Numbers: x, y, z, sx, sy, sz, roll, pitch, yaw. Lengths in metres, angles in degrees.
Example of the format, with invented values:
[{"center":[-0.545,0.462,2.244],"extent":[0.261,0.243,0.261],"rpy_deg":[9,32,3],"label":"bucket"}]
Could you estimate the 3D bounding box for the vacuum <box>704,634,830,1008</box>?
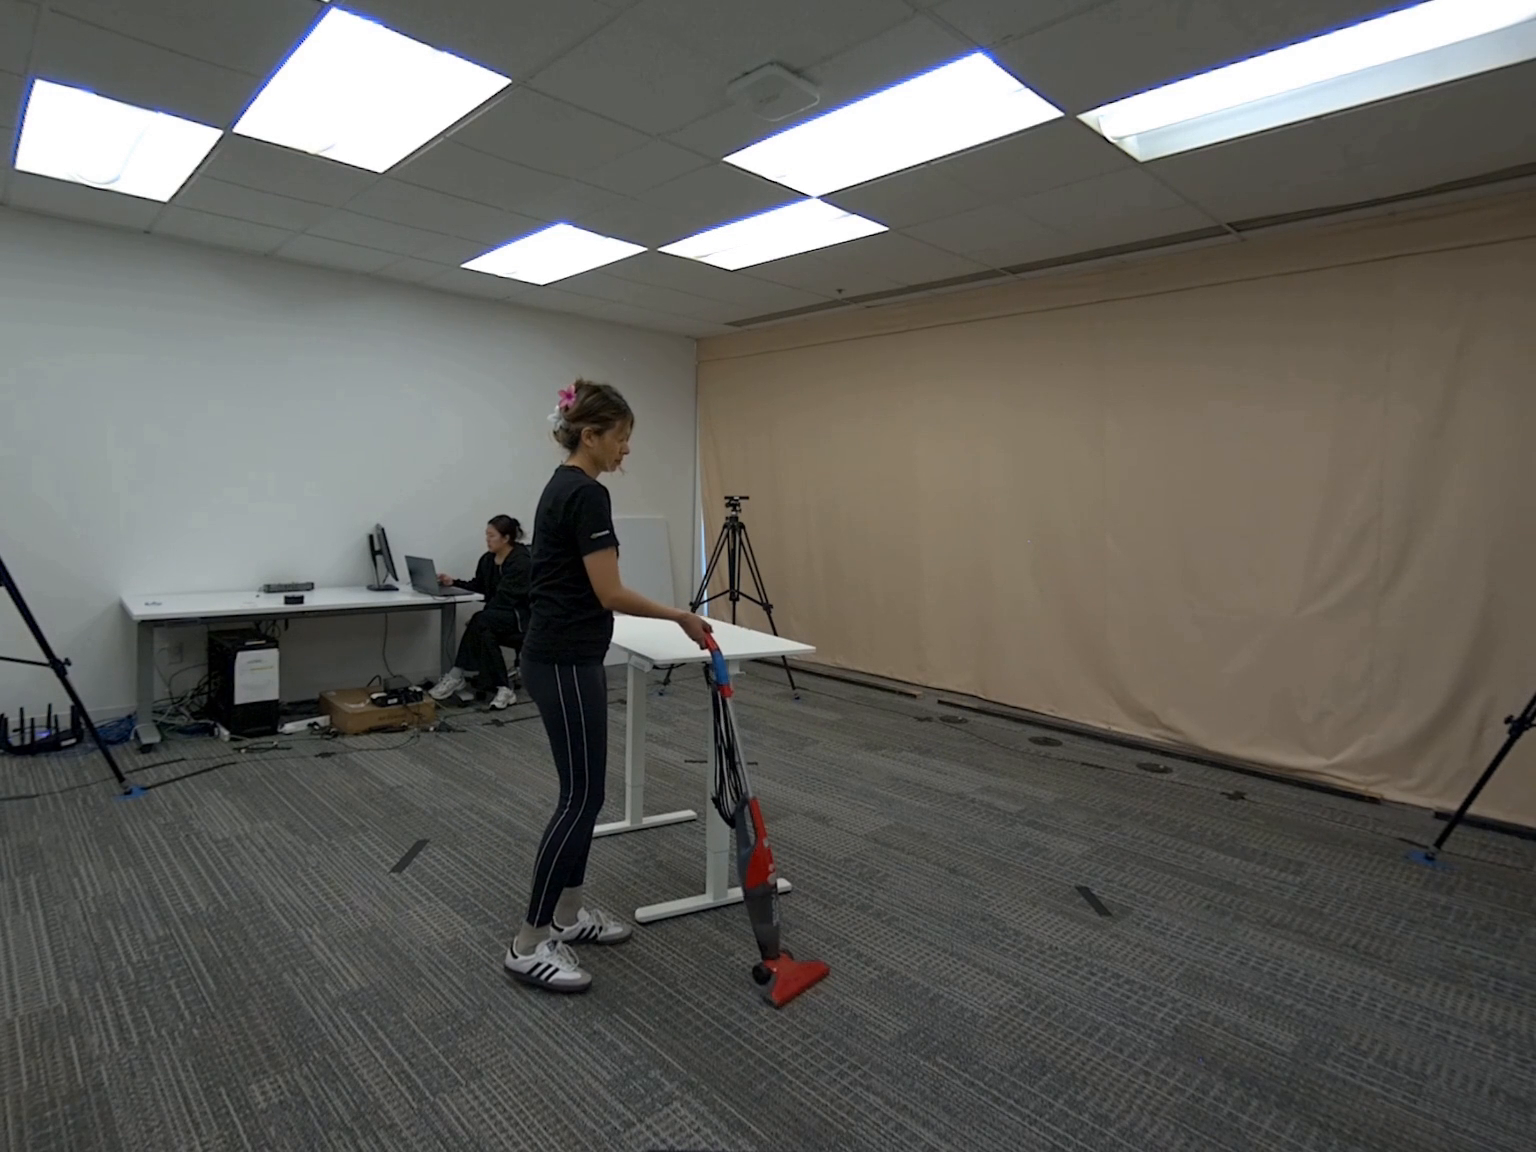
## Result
[{"center":[-0.085,0.669,2.508],"extent":[0.146,1.058,0.247],"rpy_deg":[-20,-10,31],"label":"vacuum"}]
